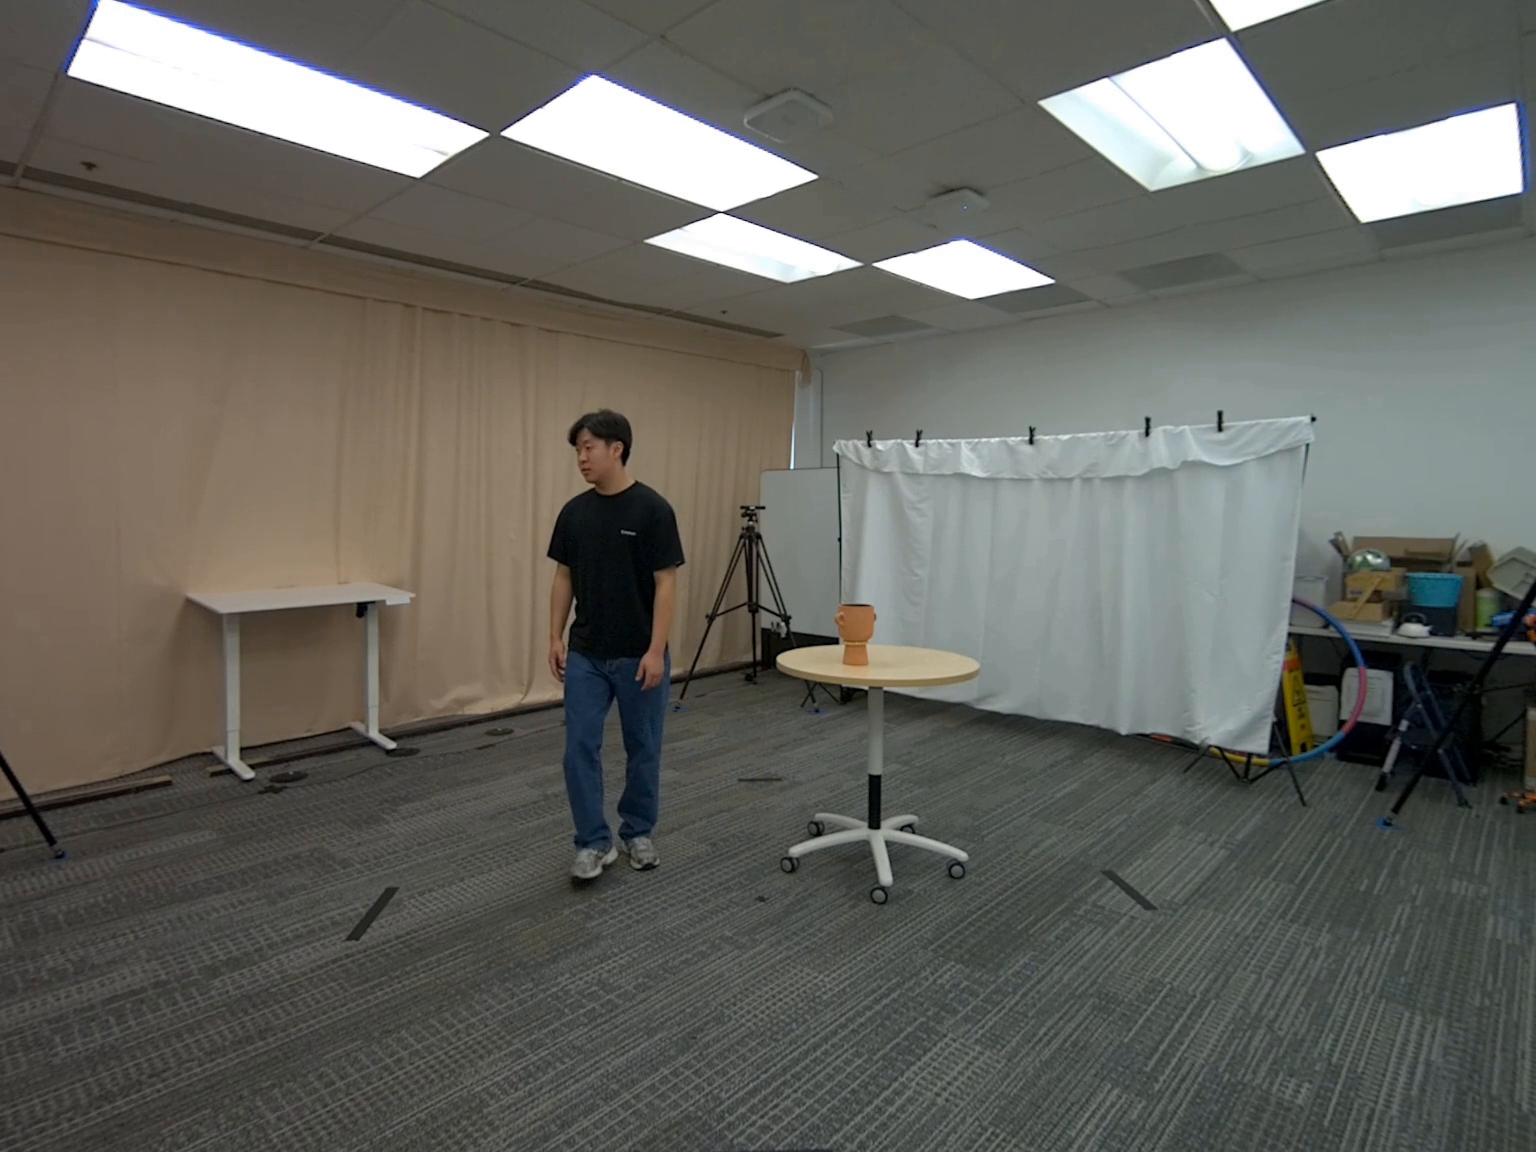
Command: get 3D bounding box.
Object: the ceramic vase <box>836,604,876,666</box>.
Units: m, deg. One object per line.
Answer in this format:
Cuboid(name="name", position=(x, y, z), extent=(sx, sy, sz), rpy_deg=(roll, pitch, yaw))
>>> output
Cuboid(name="ceramic vase", position=(0.340, 0.224, 3.166), extent=(0.160, 0.219, 0.133), rpy_deg=(1, 1, 7))
